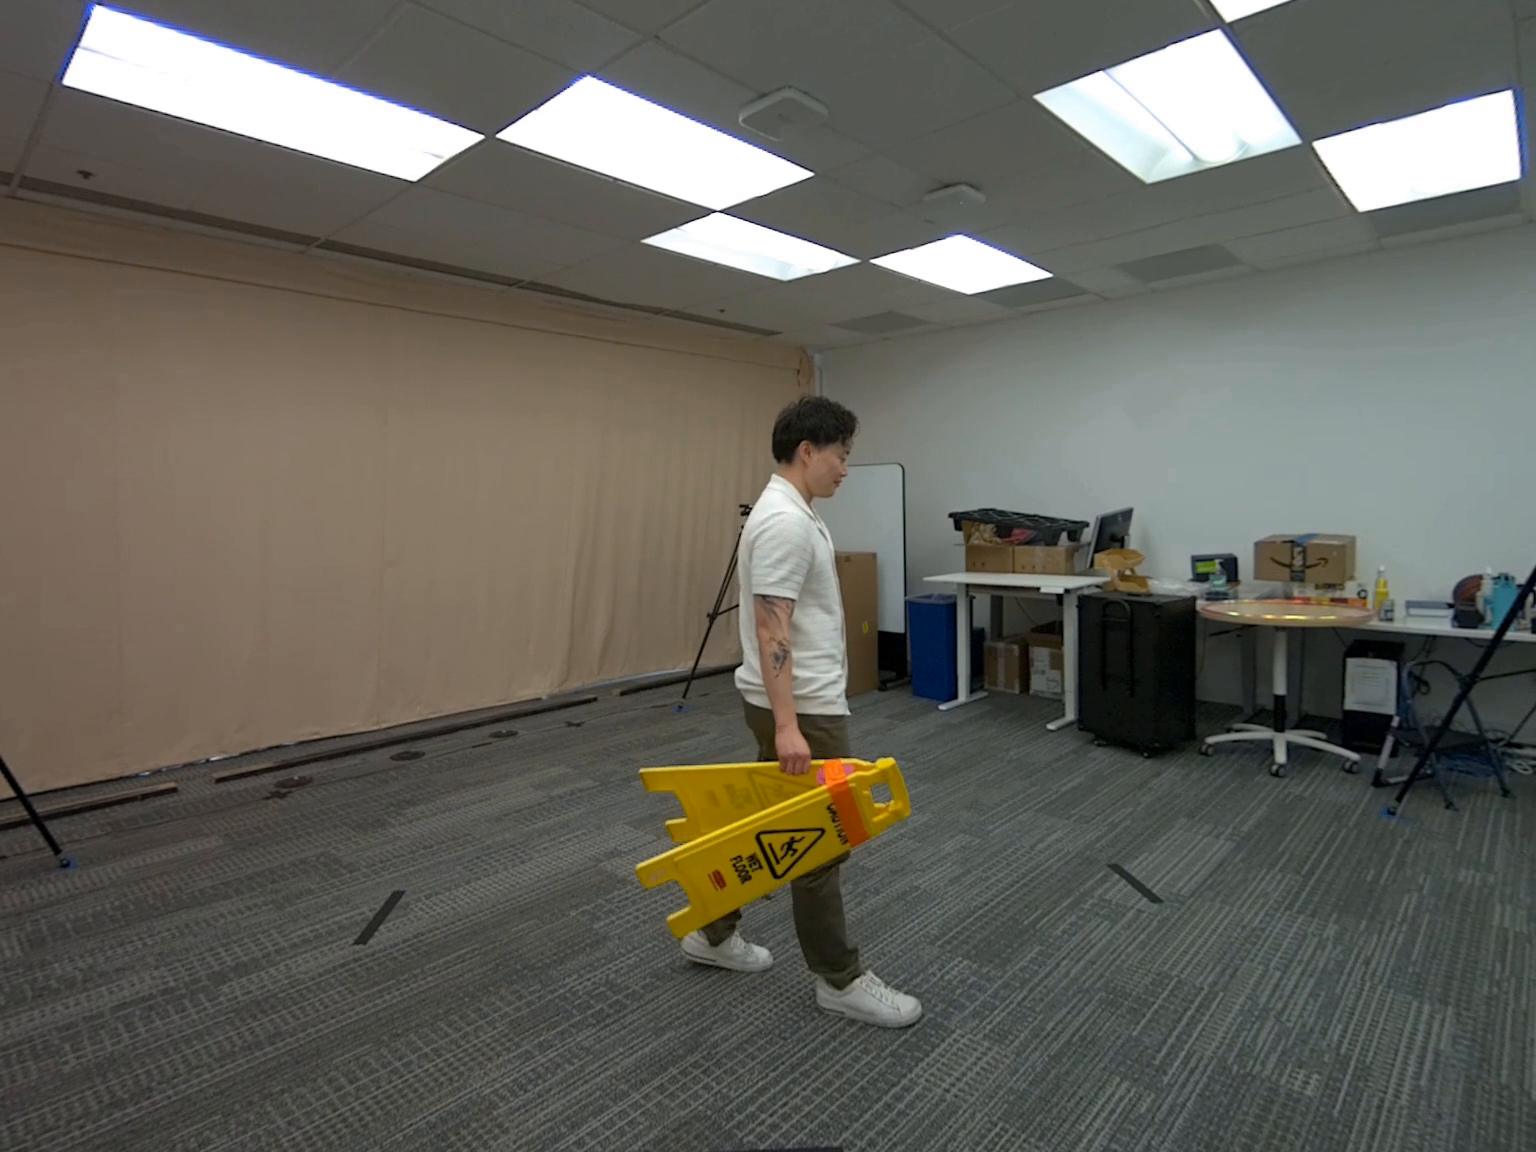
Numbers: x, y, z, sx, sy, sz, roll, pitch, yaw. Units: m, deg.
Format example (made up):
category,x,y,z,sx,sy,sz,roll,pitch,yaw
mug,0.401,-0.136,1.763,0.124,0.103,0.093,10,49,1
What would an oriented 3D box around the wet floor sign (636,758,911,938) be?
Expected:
category,x,y,z,sx,sy,sz,roll,pitch,yaw
wet floor sign,0.028,0.605,2.078,0.649,0.275,0.296,-18,33,6
